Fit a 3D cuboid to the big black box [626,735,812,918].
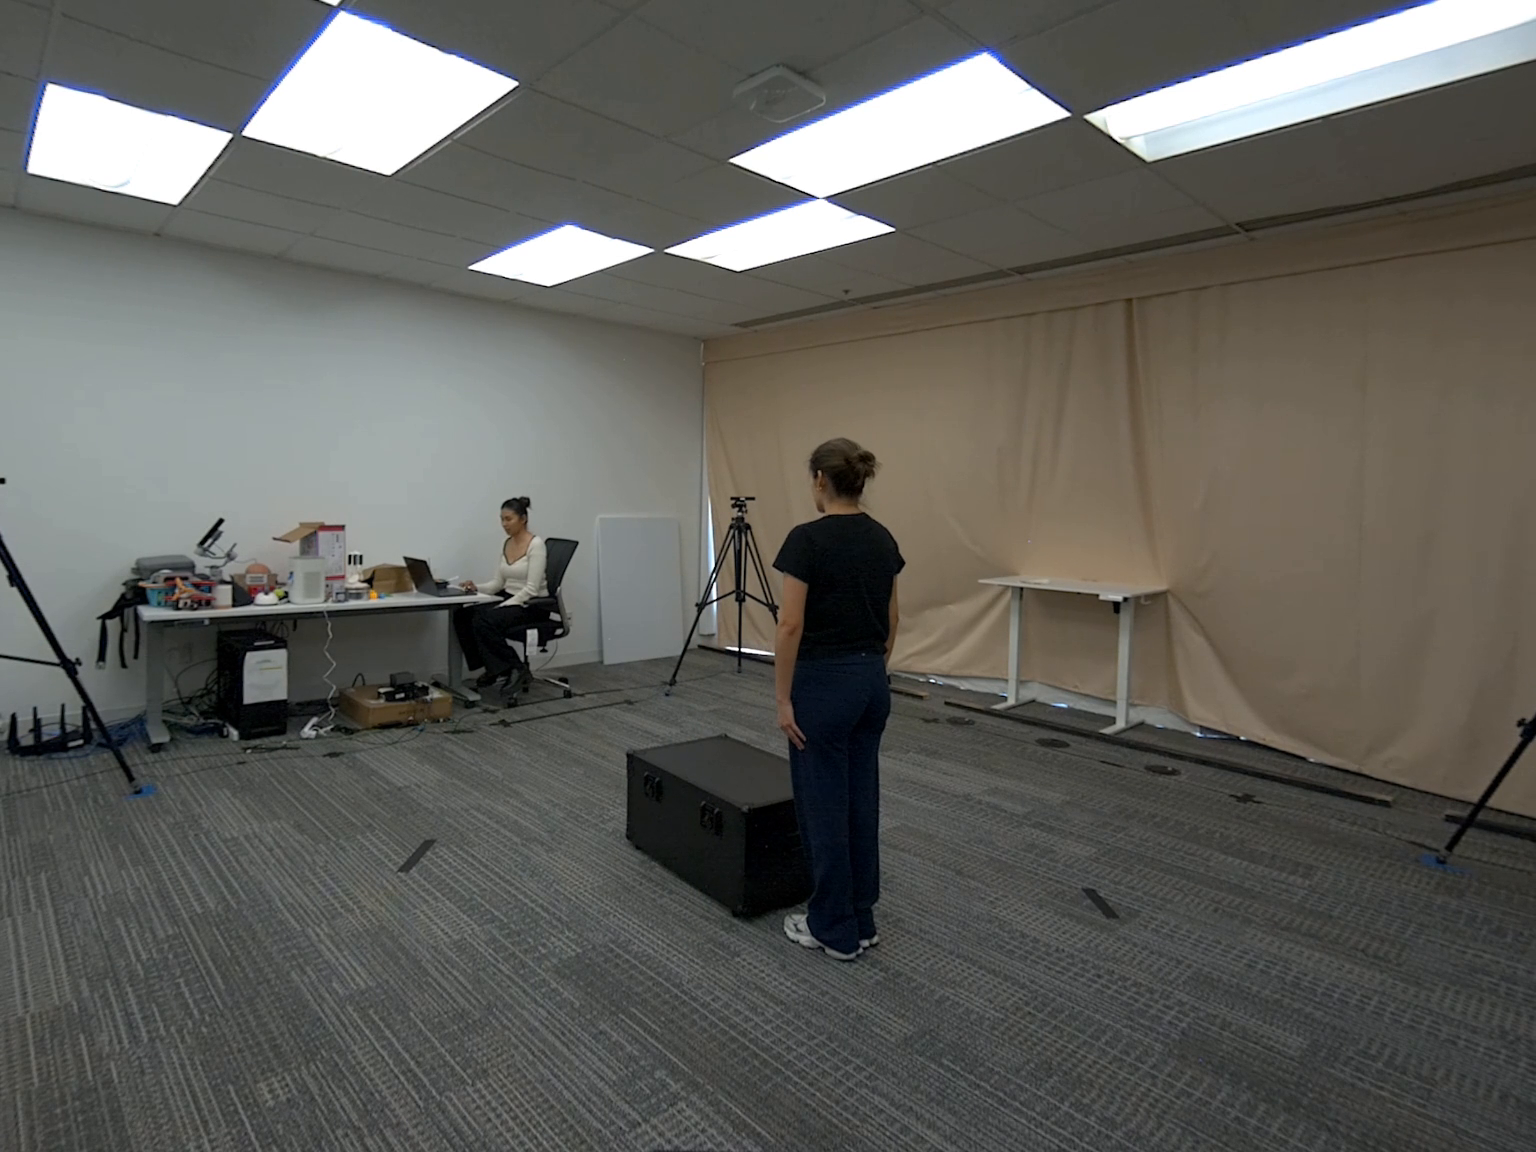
[{"bbox_3d":[-0.125,0.913,3.159,0.510,0.395,0.883,-3,6,-38],"label":"big black box"}]
